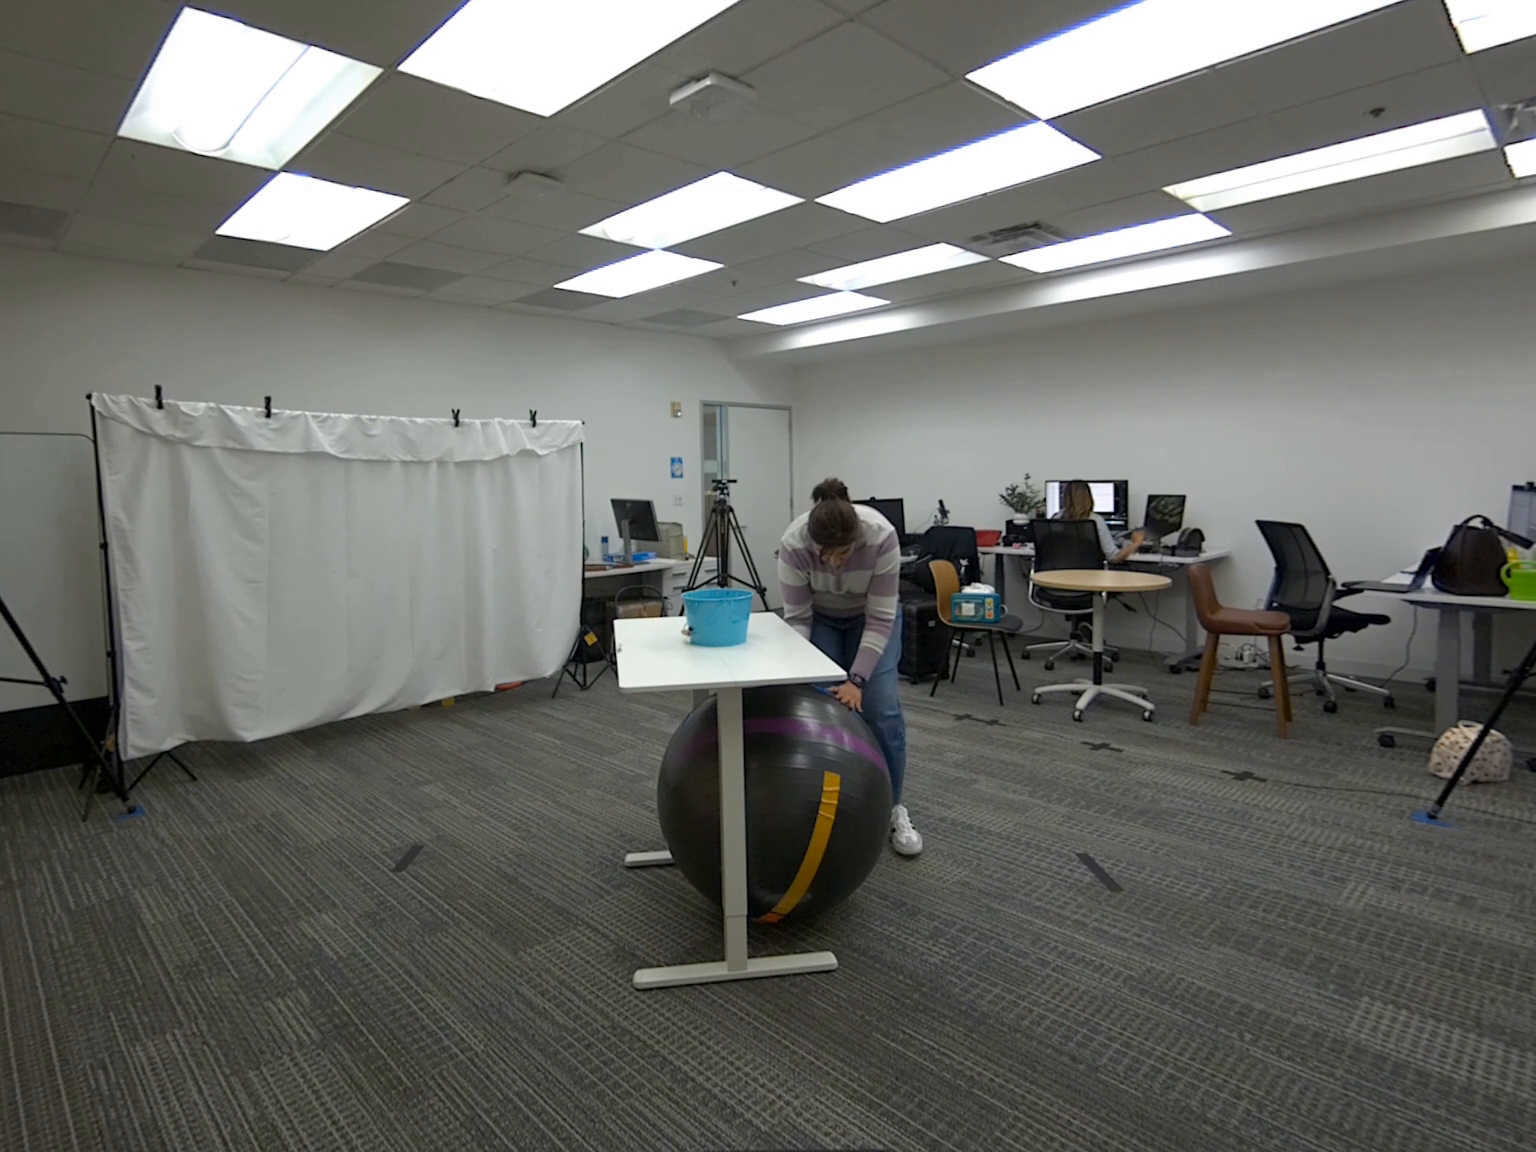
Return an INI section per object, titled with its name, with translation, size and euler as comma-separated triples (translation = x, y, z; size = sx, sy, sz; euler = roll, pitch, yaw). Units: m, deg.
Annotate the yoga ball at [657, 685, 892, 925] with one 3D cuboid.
[yoga ball]
translation = 0.022, 0.722, 2.760
size = 0.757, 0.755, 0.762
euler = -1, 5, -2
